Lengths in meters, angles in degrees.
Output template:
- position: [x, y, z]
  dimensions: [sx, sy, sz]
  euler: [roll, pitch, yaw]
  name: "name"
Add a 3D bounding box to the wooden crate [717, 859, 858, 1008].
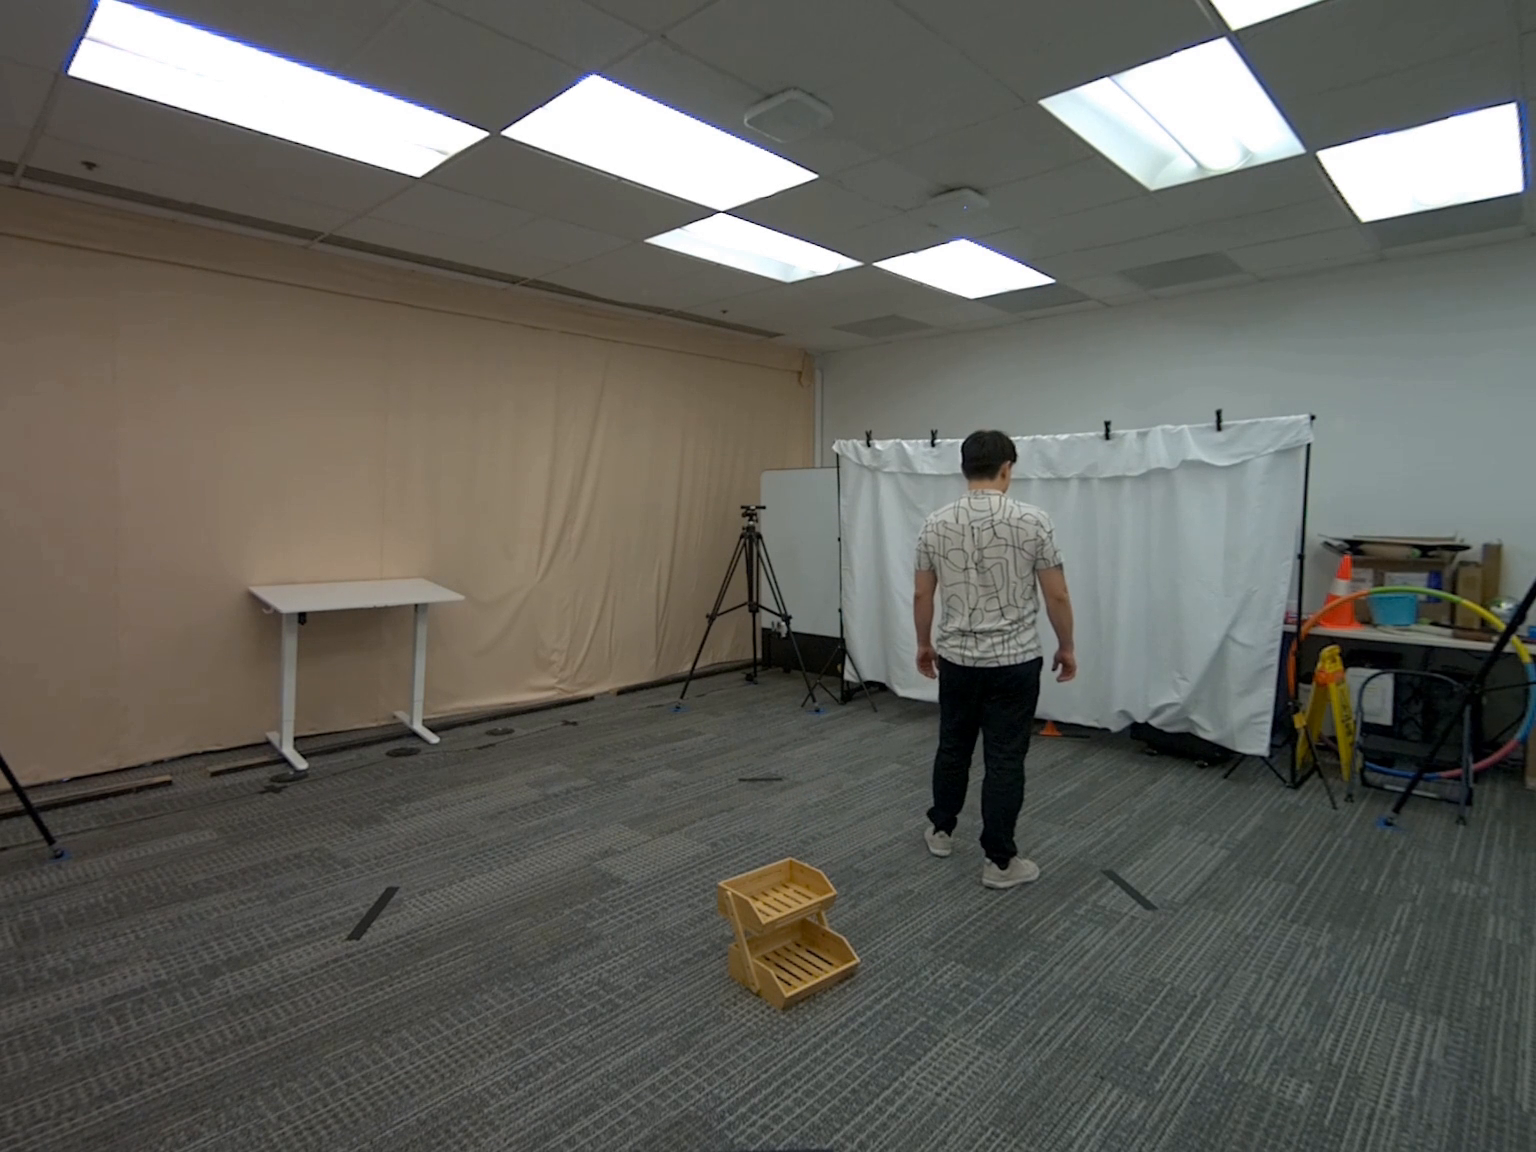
- position: [0.065, 1.051, 2.503]
  dimensions: [0.314, 0.273, 0.312]
  euler: [-3, 4, -40]
  name: "wooden crate"
